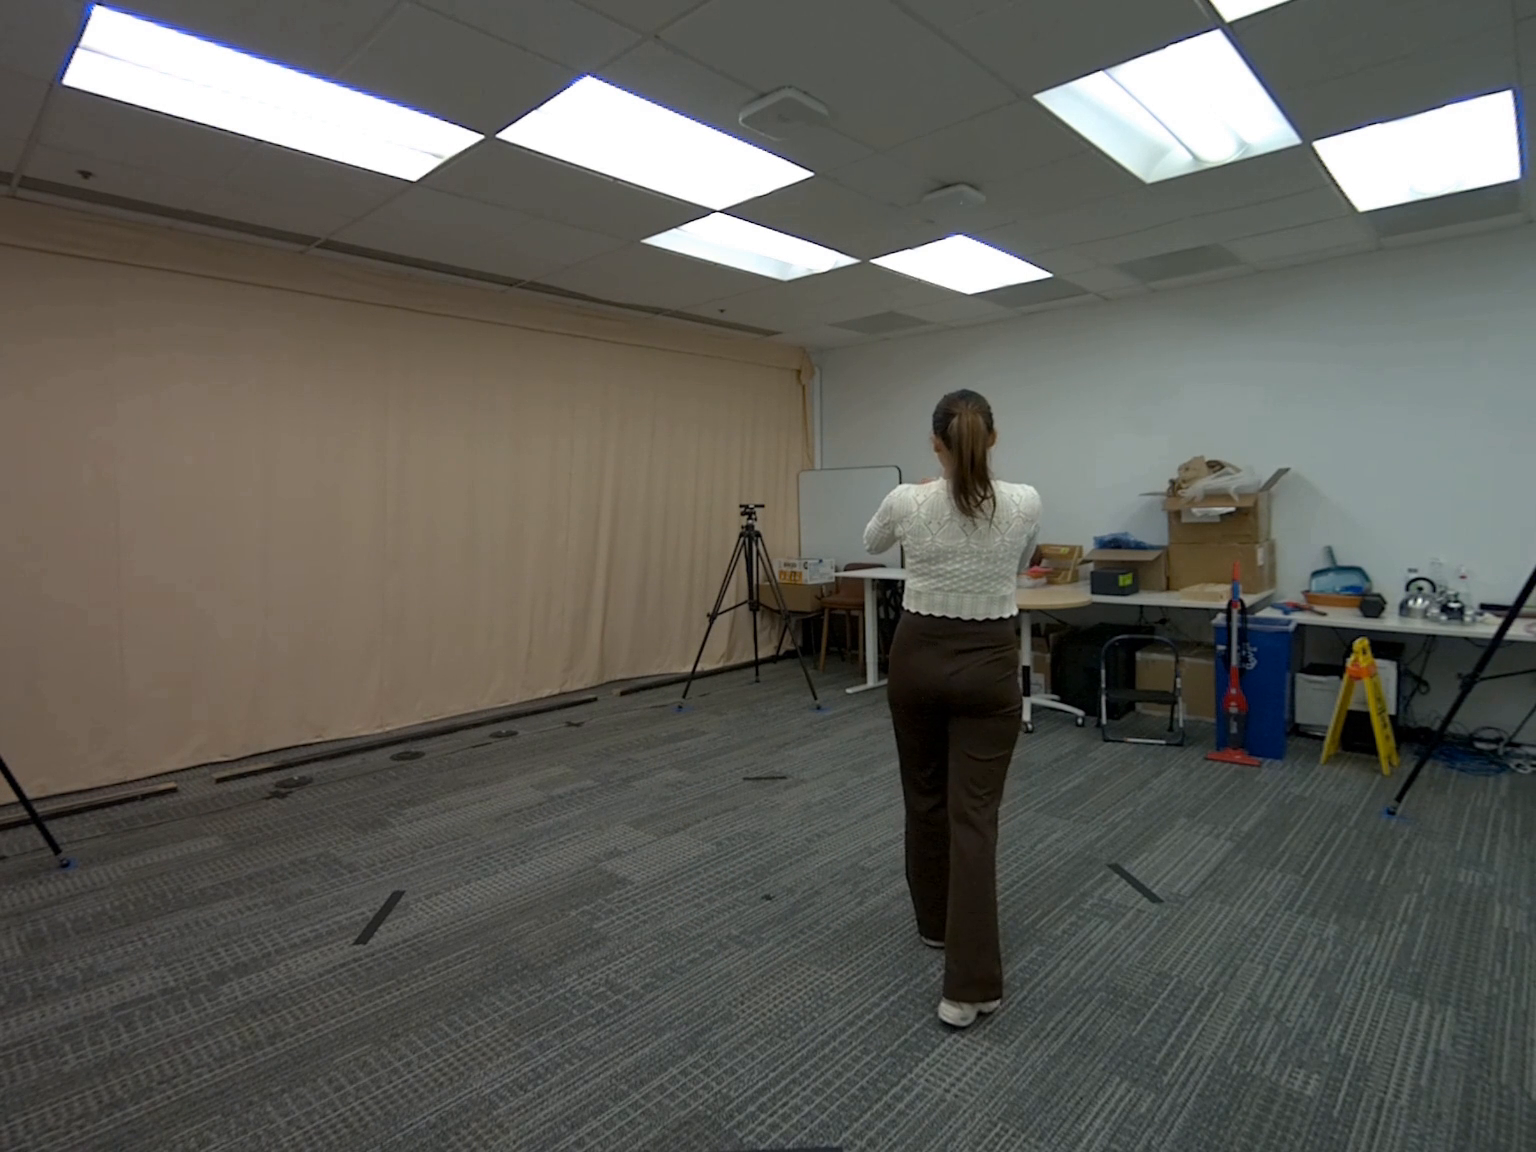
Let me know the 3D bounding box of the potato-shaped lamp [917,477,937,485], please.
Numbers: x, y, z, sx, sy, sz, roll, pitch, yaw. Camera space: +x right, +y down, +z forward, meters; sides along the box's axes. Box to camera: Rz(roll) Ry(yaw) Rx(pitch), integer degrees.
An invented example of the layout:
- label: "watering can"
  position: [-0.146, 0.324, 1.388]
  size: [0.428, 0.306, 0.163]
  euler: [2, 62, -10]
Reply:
- label: "potato-shaped lamp"
  position: [0.609, -0.224, 2.909]
  size: [0.175, 0.198, 0.161]
  euler: [-26, 1, 40]
